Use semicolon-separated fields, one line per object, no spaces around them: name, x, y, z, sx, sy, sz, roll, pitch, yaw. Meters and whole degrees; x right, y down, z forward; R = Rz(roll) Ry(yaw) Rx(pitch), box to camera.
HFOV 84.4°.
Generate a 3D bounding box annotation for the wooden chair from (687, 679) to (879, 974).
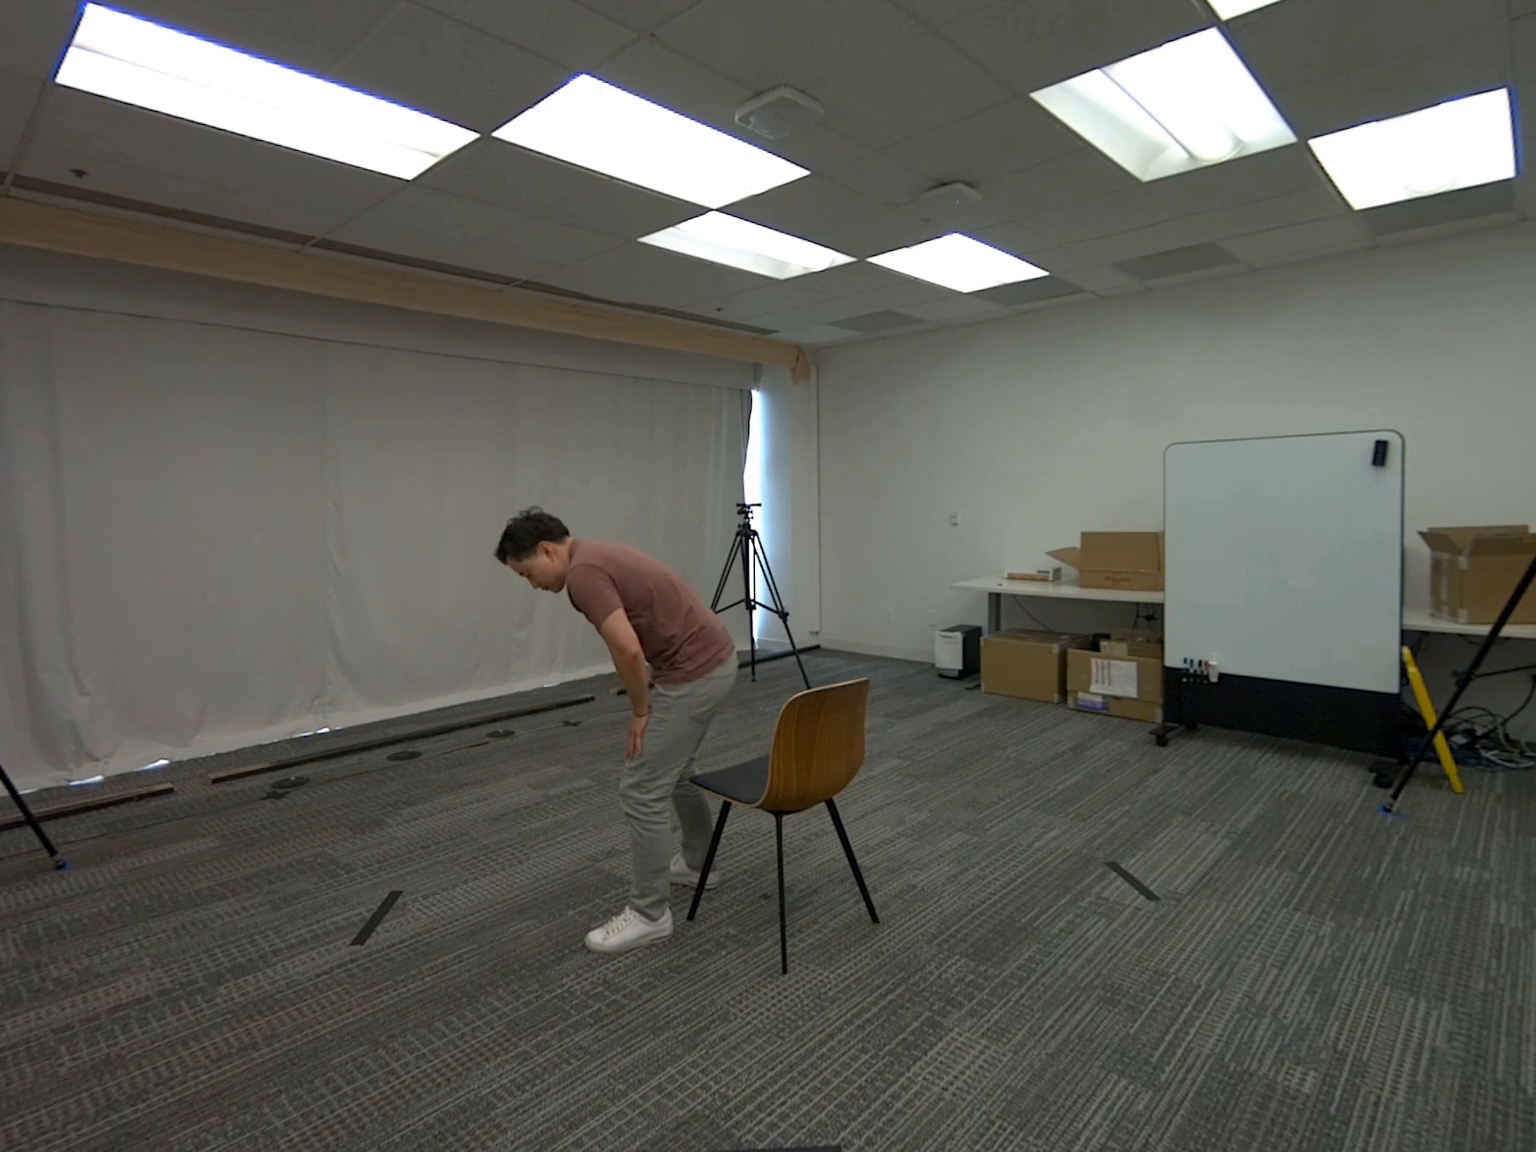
wooden chair;0.038;0.722;2.774;0.464;0.873;0.541;-5;9;-42
